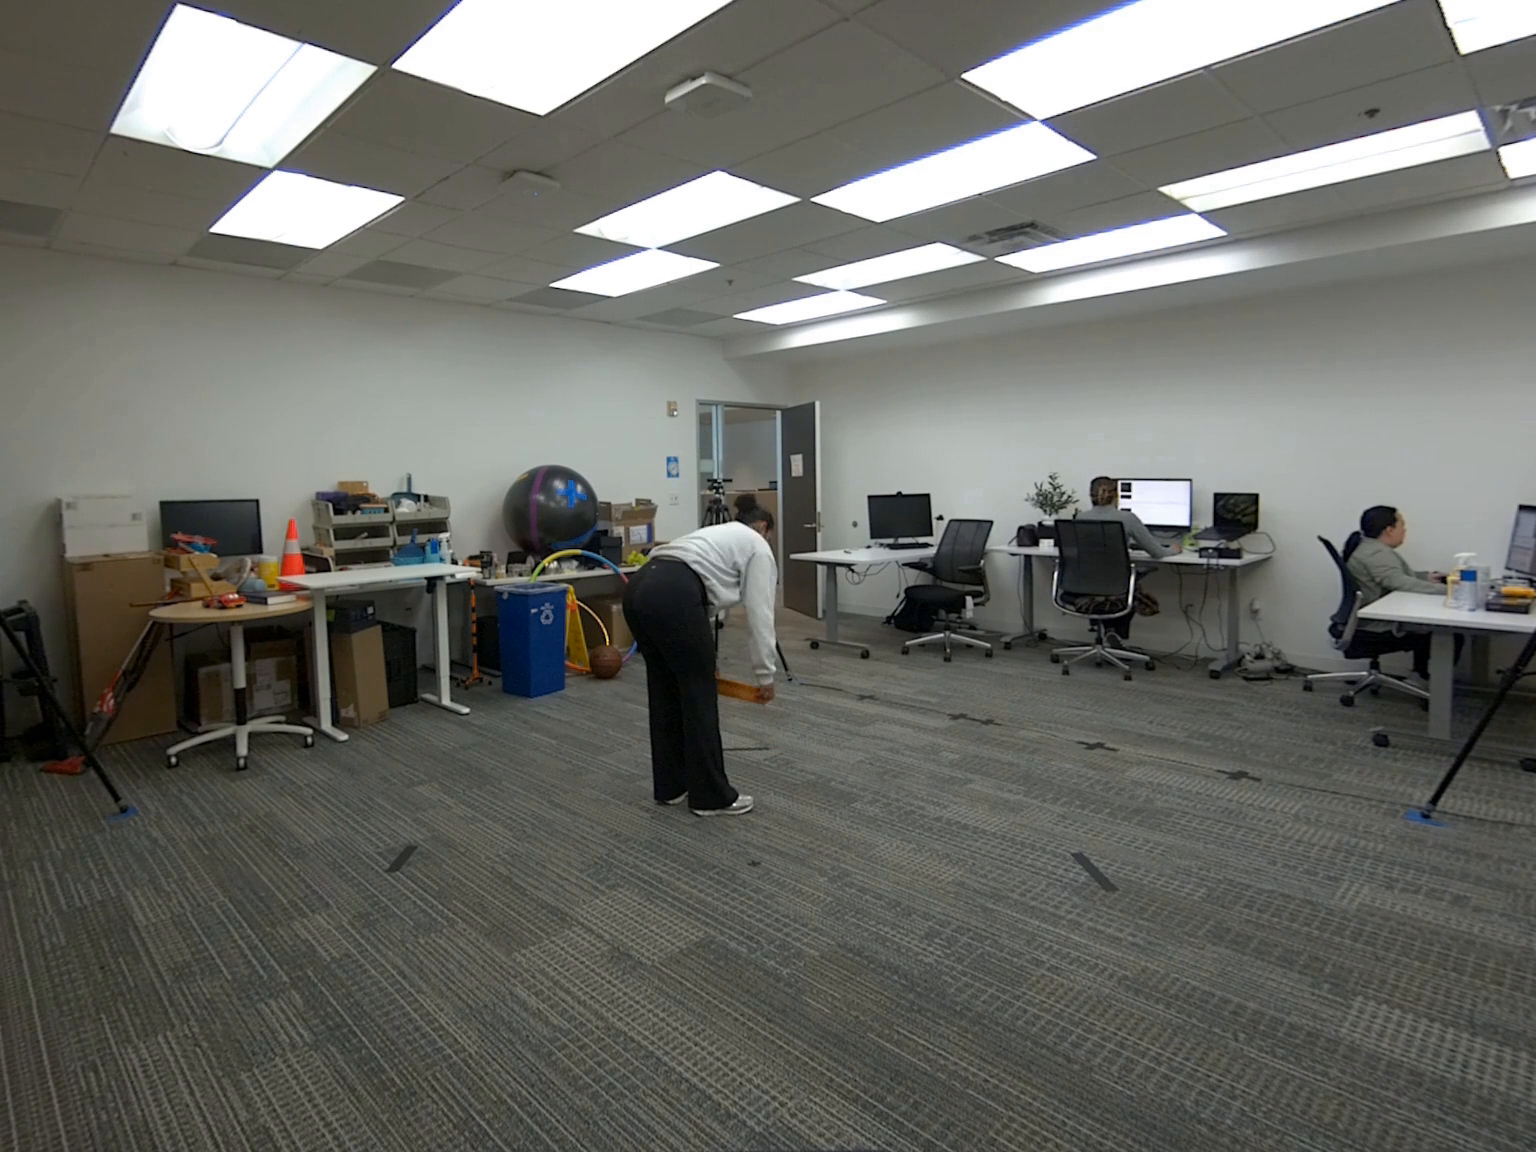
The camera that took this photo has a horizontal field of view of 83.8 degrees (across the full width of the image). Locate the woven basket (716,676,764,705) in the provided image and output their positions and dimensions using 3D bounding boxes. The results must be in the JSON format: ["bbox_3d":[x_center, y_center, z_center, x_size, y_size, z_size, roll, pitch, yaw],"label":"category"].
[{"bbox_3d":[-0.123,0.504,3.756,0.361,0.074,0.243,6,-7,44],"label":"woven basket"}]
